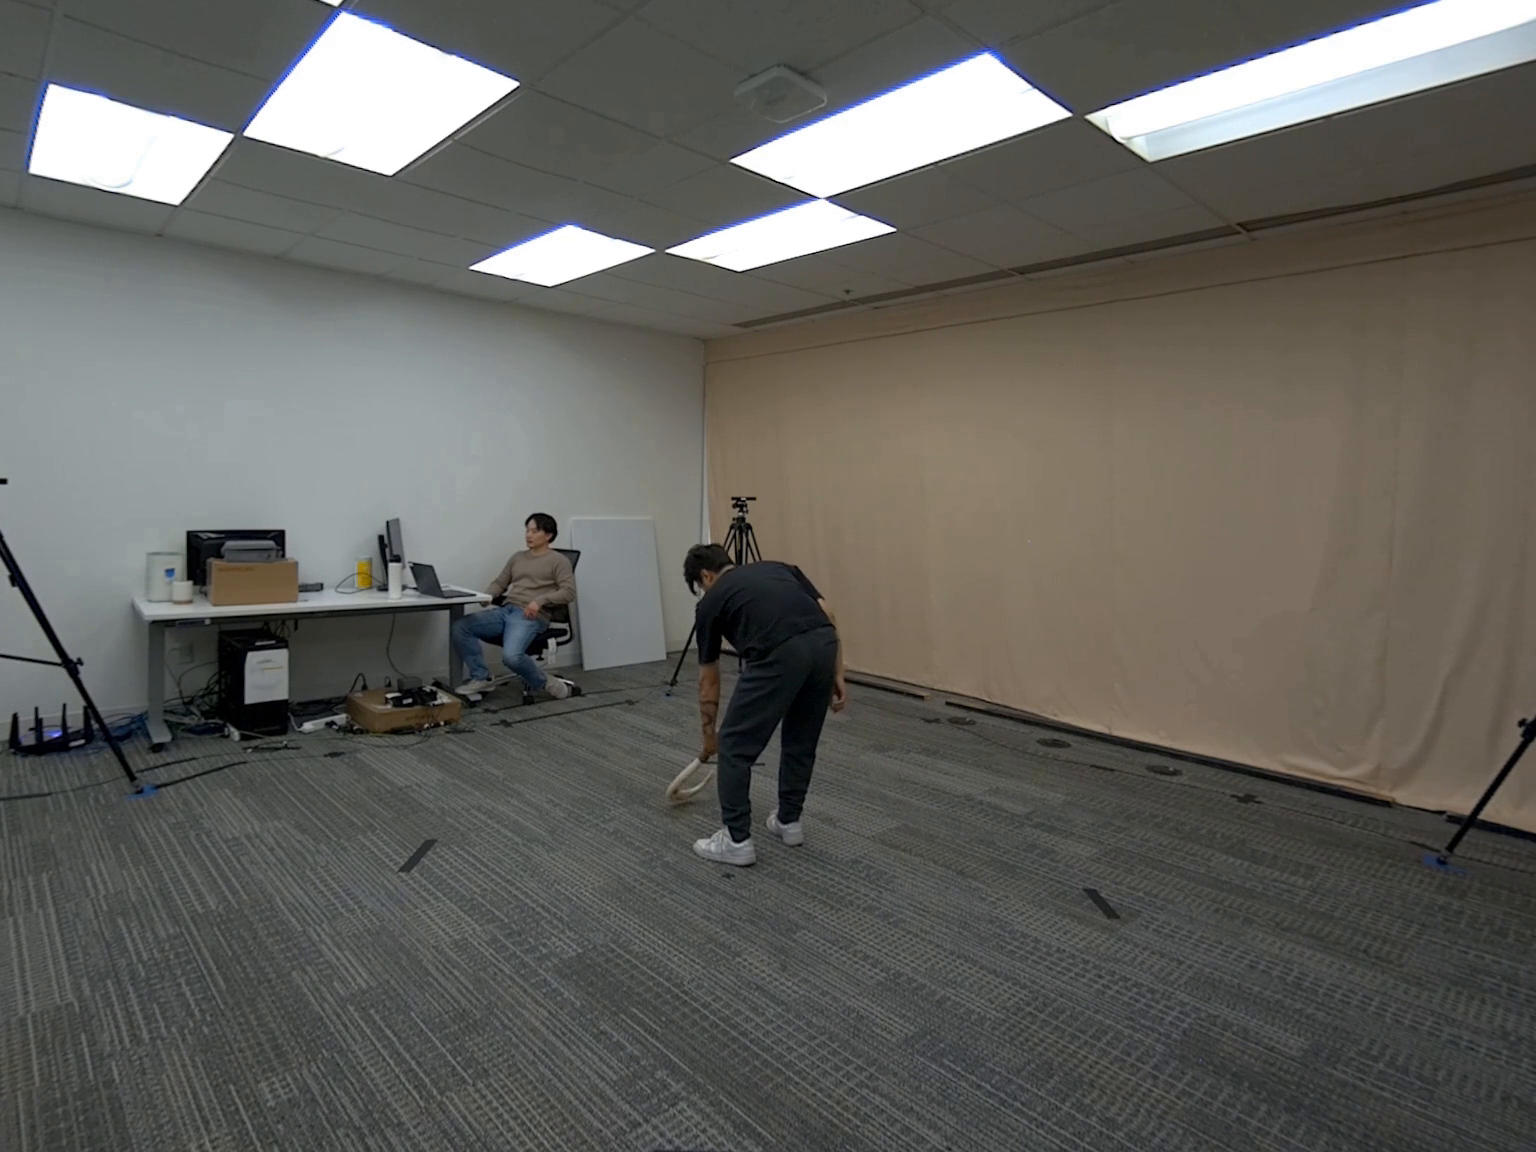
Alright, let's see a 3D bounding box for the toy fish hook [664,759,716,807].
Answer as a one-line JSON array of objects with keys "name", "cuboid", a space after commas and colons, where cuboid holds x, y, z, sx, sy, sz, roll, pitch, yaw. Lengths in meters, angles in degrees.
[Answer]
[{"name": "toy fish hook", "cuboid": [-0.286, 0.832, 3.706, 0.219, 0.504, 0.050, 1, 44, -44]}]
